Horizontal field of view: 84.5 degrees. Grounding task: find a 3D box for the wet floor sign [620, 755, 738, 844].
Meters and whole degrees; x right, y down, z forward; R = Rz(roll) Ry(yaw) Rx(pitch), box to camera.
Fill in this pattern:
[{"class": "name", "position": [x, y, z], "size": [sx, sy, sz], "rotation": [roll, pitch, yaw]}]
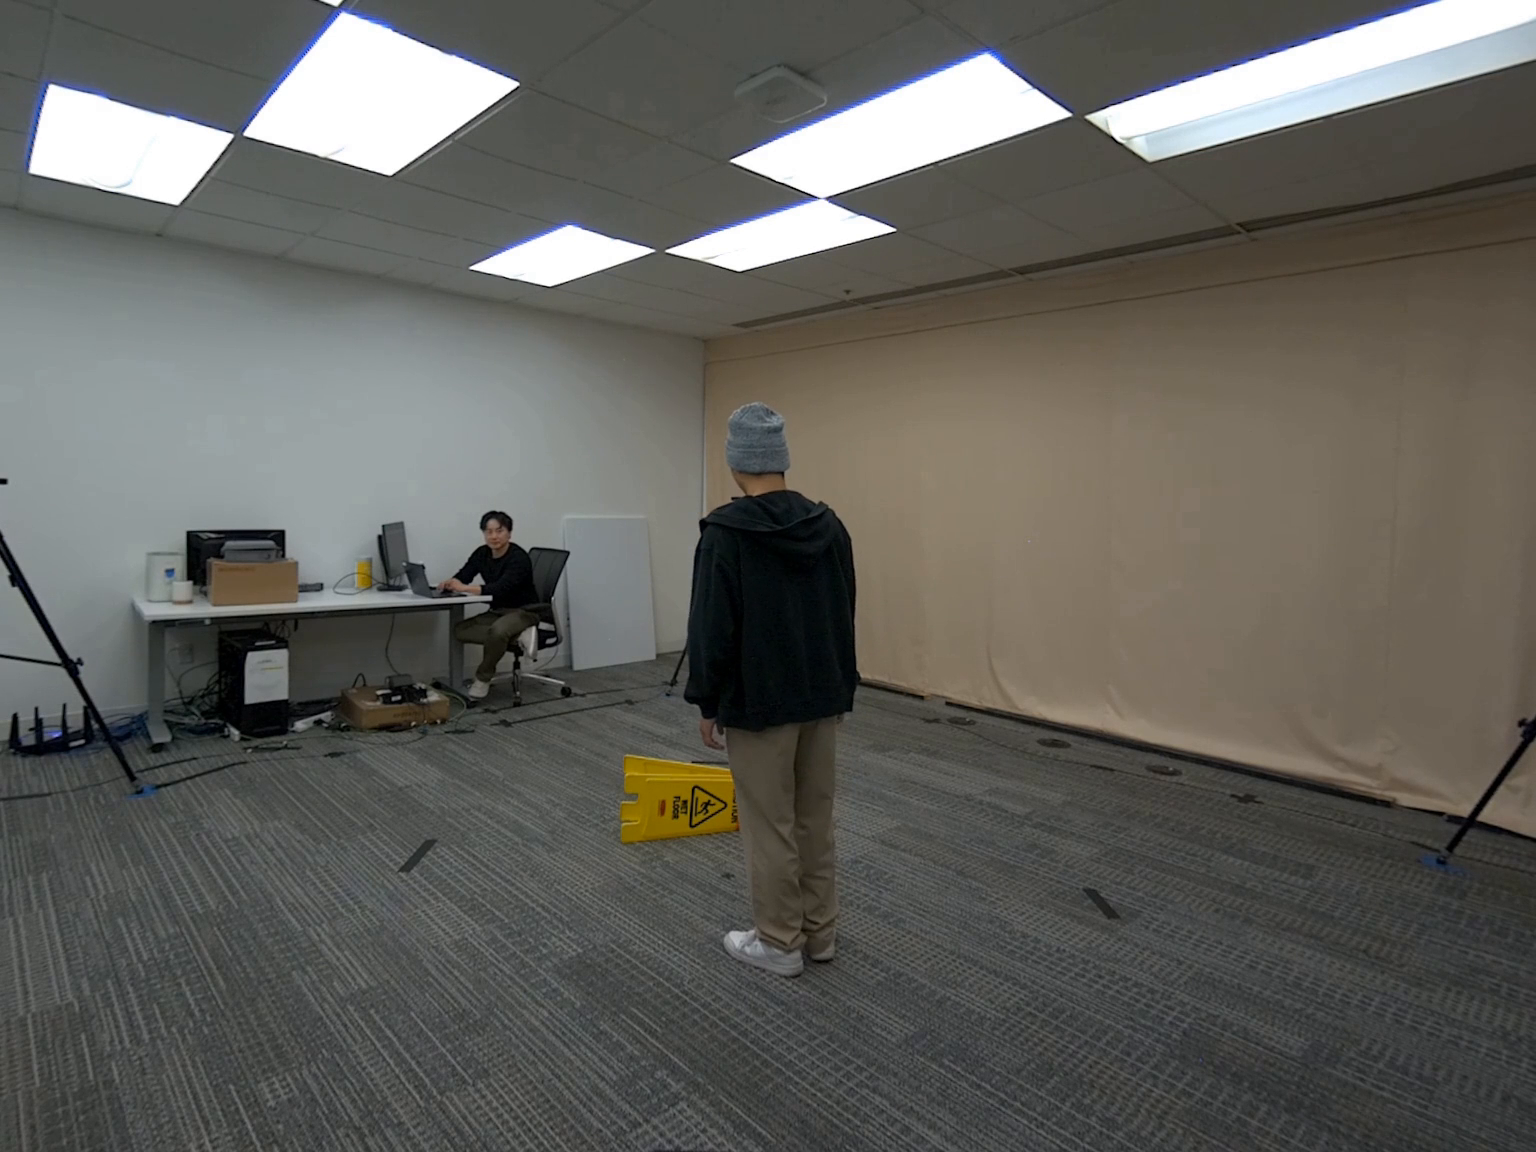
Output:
[{"class": "wet floor sign", "position": [-0.297, 0.938, 3.552], "size": [0.641, 0.282, 0.292], "rotation": [4, 3, -9]}]
